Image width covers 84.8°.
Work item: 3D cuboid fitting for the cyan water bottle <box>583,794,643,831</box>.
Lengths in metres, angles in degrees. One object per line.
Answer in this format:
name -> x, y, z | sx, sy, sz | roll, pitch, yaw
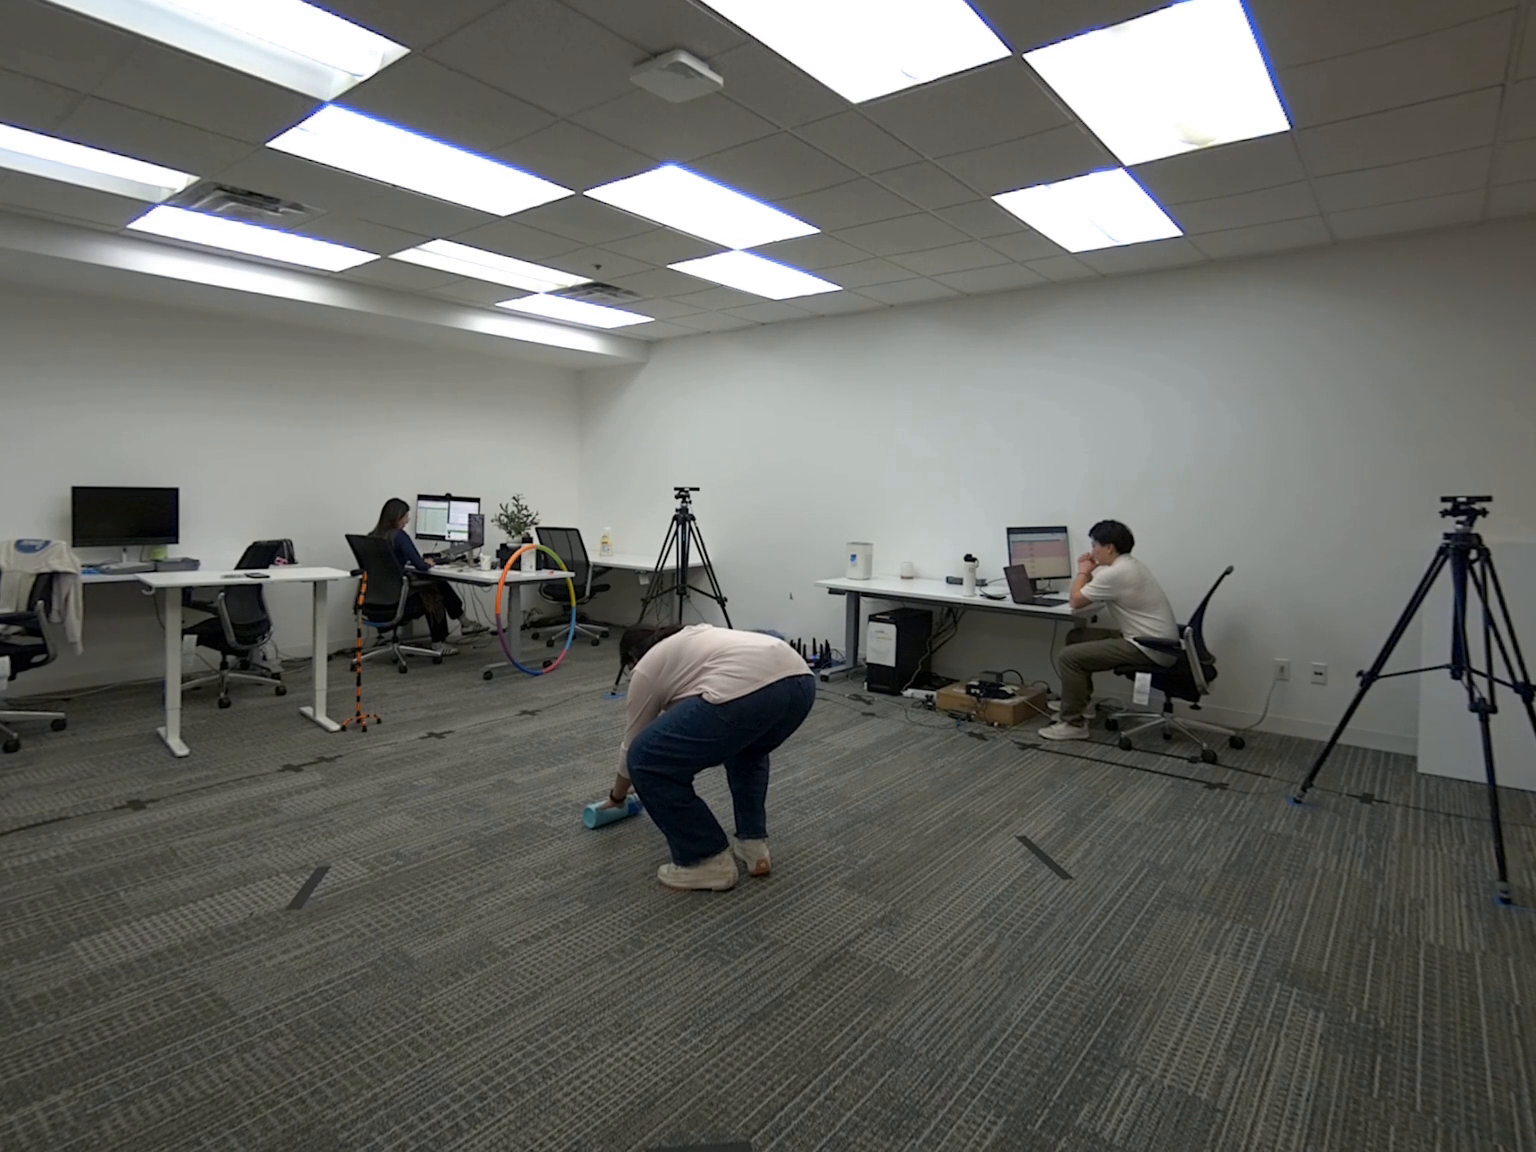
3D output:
cyan water bottle -> -0.653, 0.971, 3.556 | 0.095, 0.092, 0.275 | 4, 5, 42
